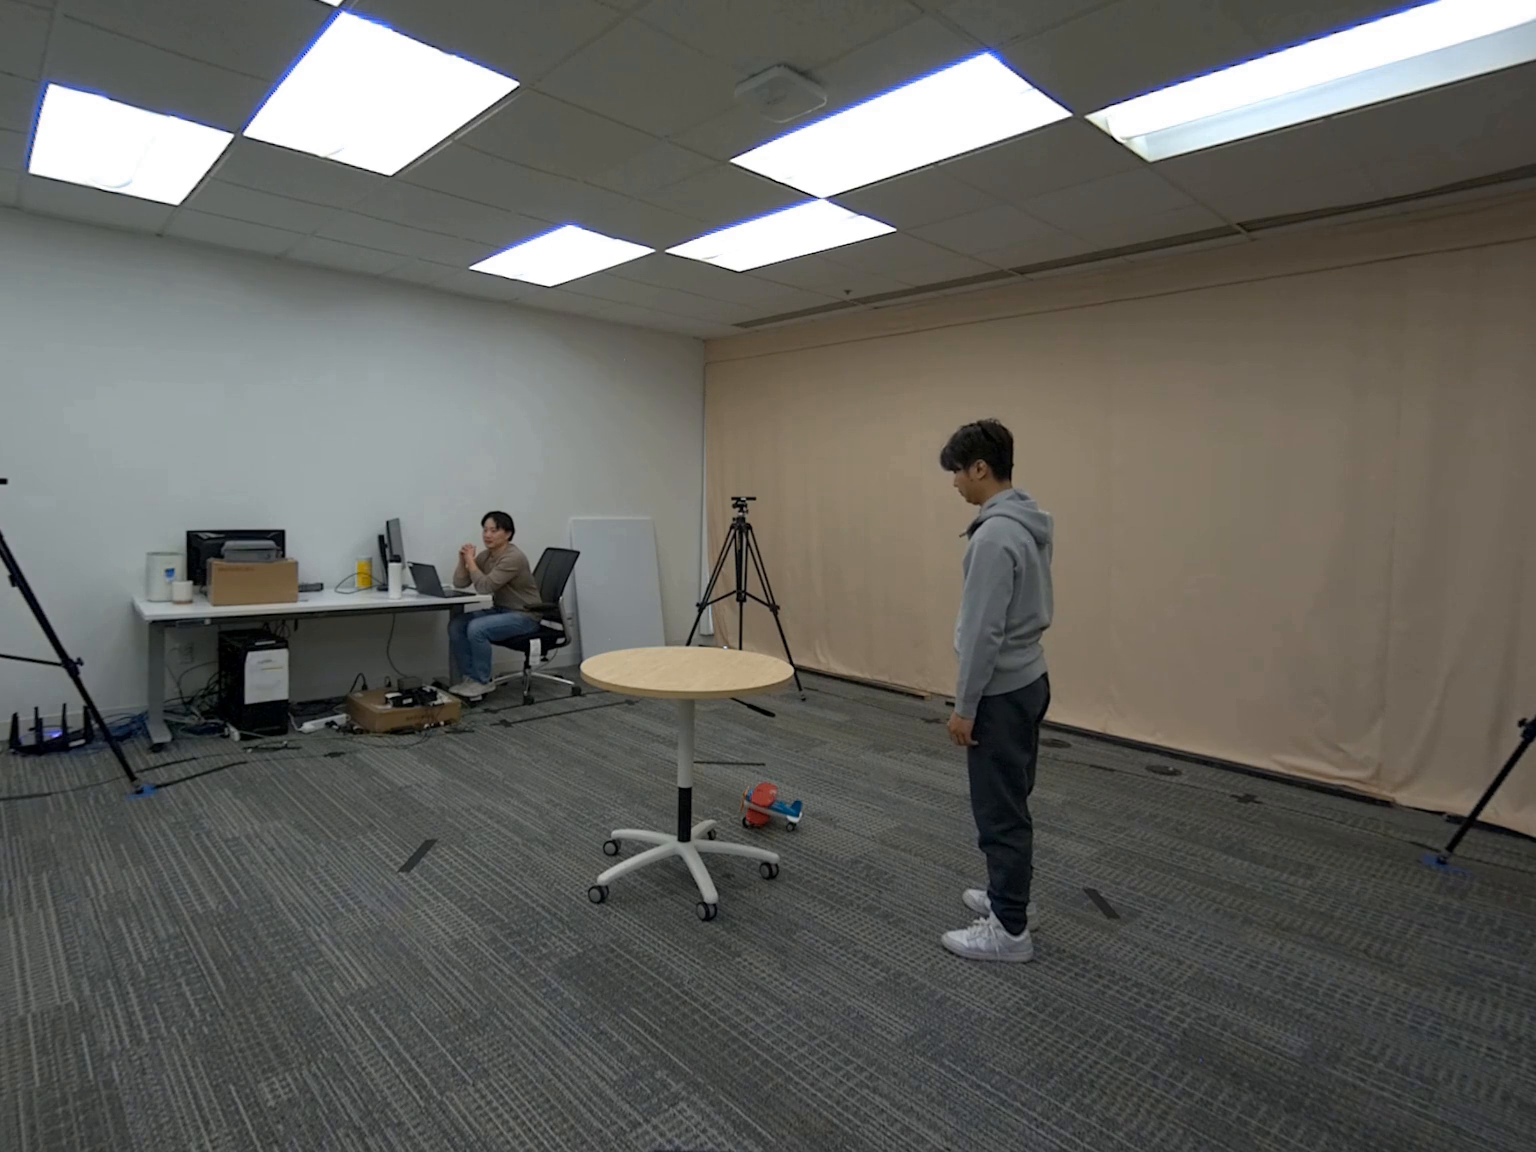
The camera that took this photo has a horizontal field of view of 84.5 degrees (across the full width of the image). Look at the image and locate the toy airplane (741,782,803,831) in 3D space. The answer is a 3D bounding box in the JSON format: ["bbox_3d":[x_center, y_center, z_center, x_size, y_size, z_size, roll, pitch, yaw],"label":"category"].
[{"bbox_3d":[0.005,0.992,3.602,0.256,0.156,0.254,0,4,-14],"label":"toy airplane"}]
